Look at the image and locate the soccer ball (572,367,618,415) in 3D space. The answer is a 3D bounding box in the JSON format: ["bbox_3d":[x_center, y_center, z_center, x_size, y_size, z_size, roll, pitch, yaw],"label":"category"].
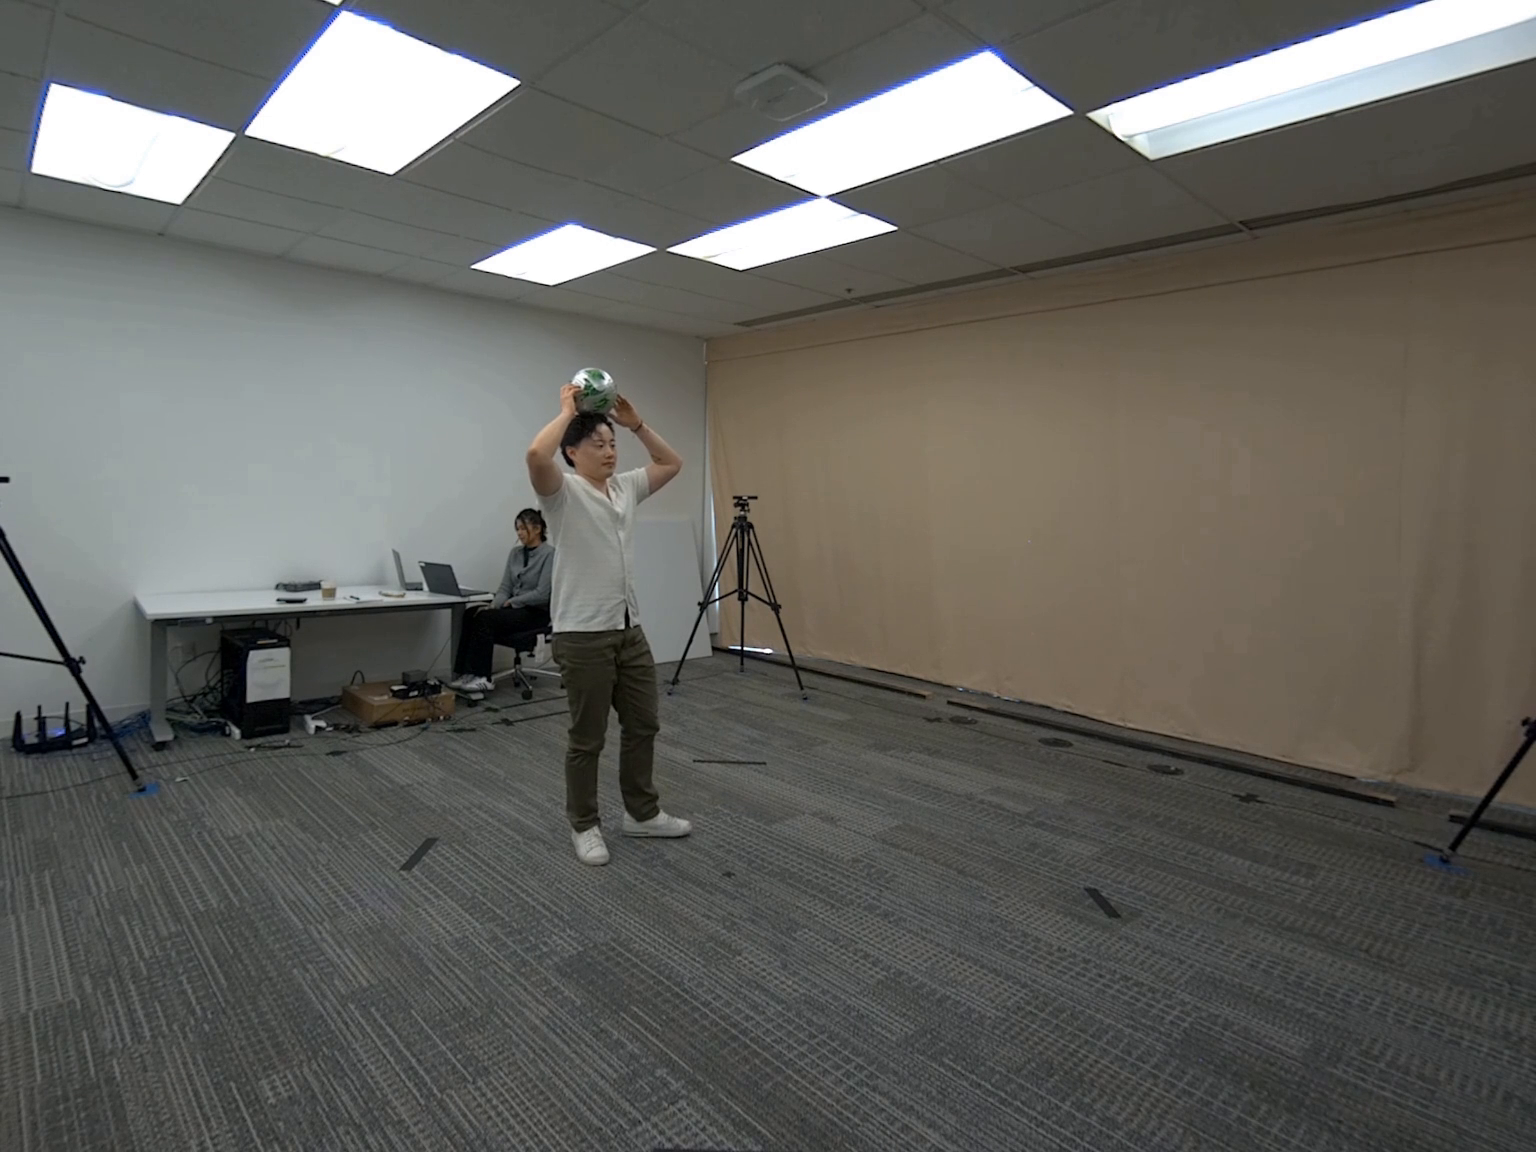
[{"bbox_3d":[-0.677,-0.690,3.174,0.187,0.187,0.188,1,4,-1],"label":"soccer ball"}]
